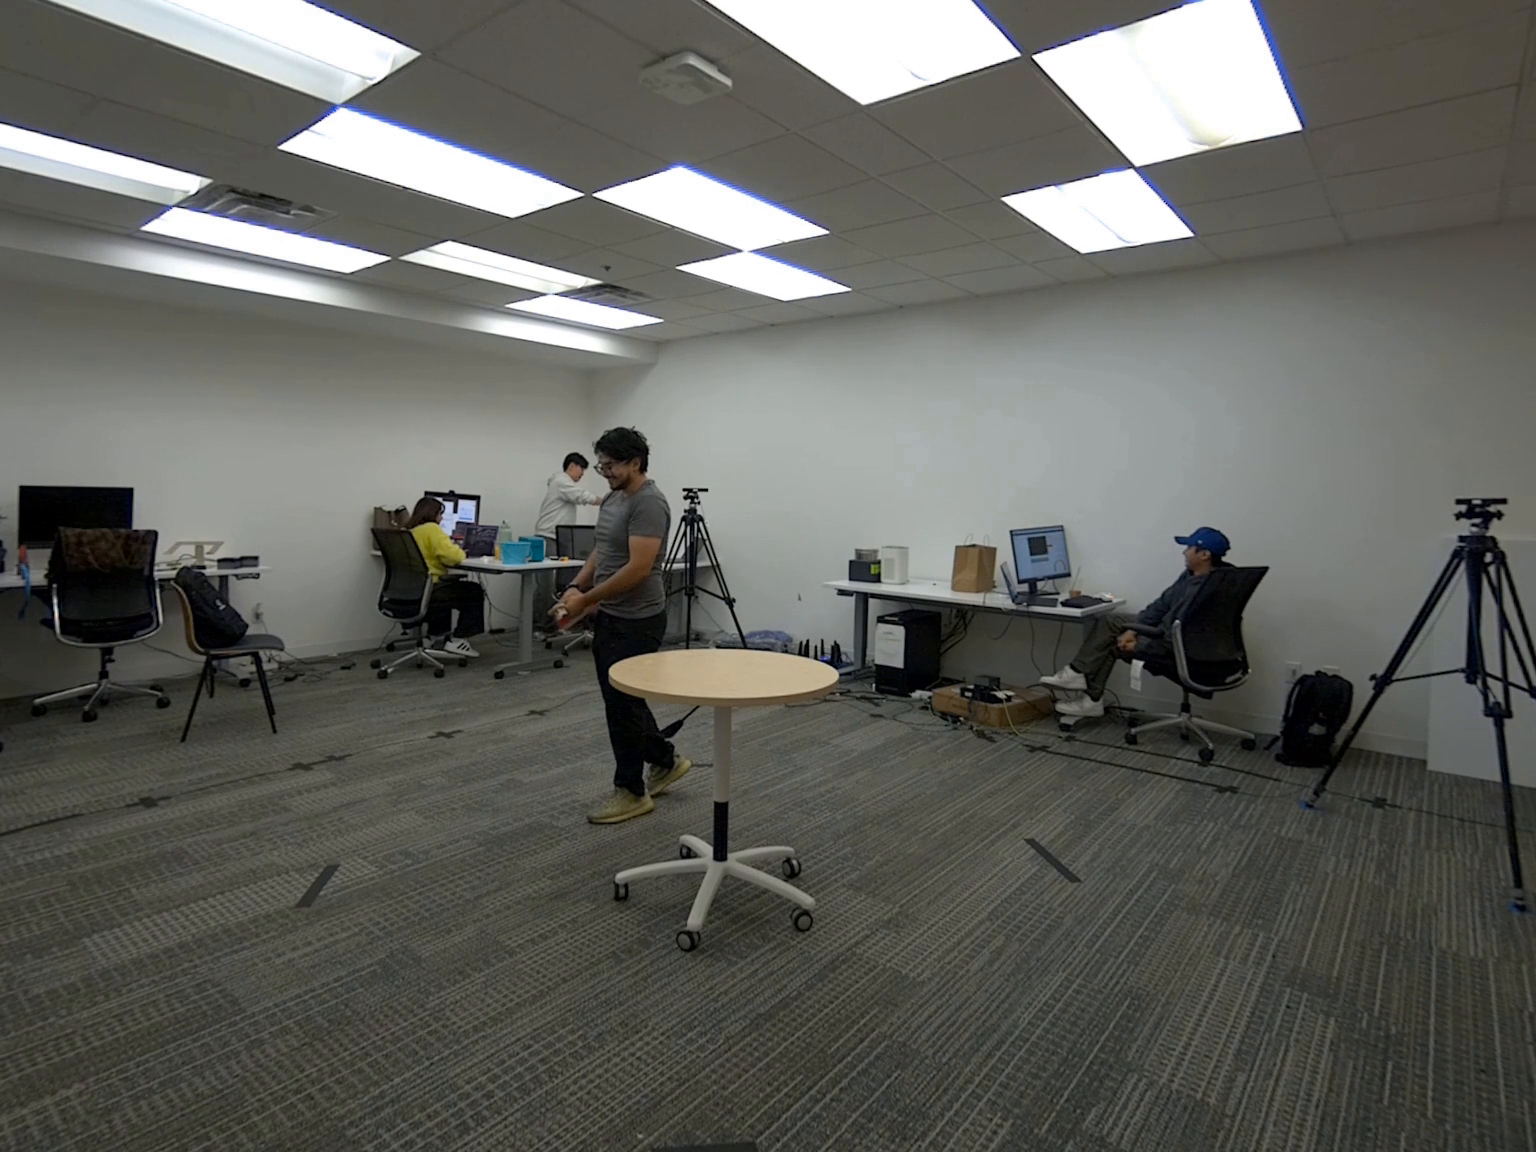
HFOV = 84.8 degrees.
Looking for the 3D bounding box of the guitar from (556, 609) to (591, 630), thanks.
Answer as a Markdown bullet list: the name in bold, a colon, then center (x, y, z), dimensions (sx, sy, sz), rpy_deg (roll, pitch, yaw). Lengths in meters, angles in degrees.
- **guitar**: center (-0.846, 0.161, 3.490), dimensions (0.193, 0.071, 0.496), rpy_deg (-38, 2, 7)
